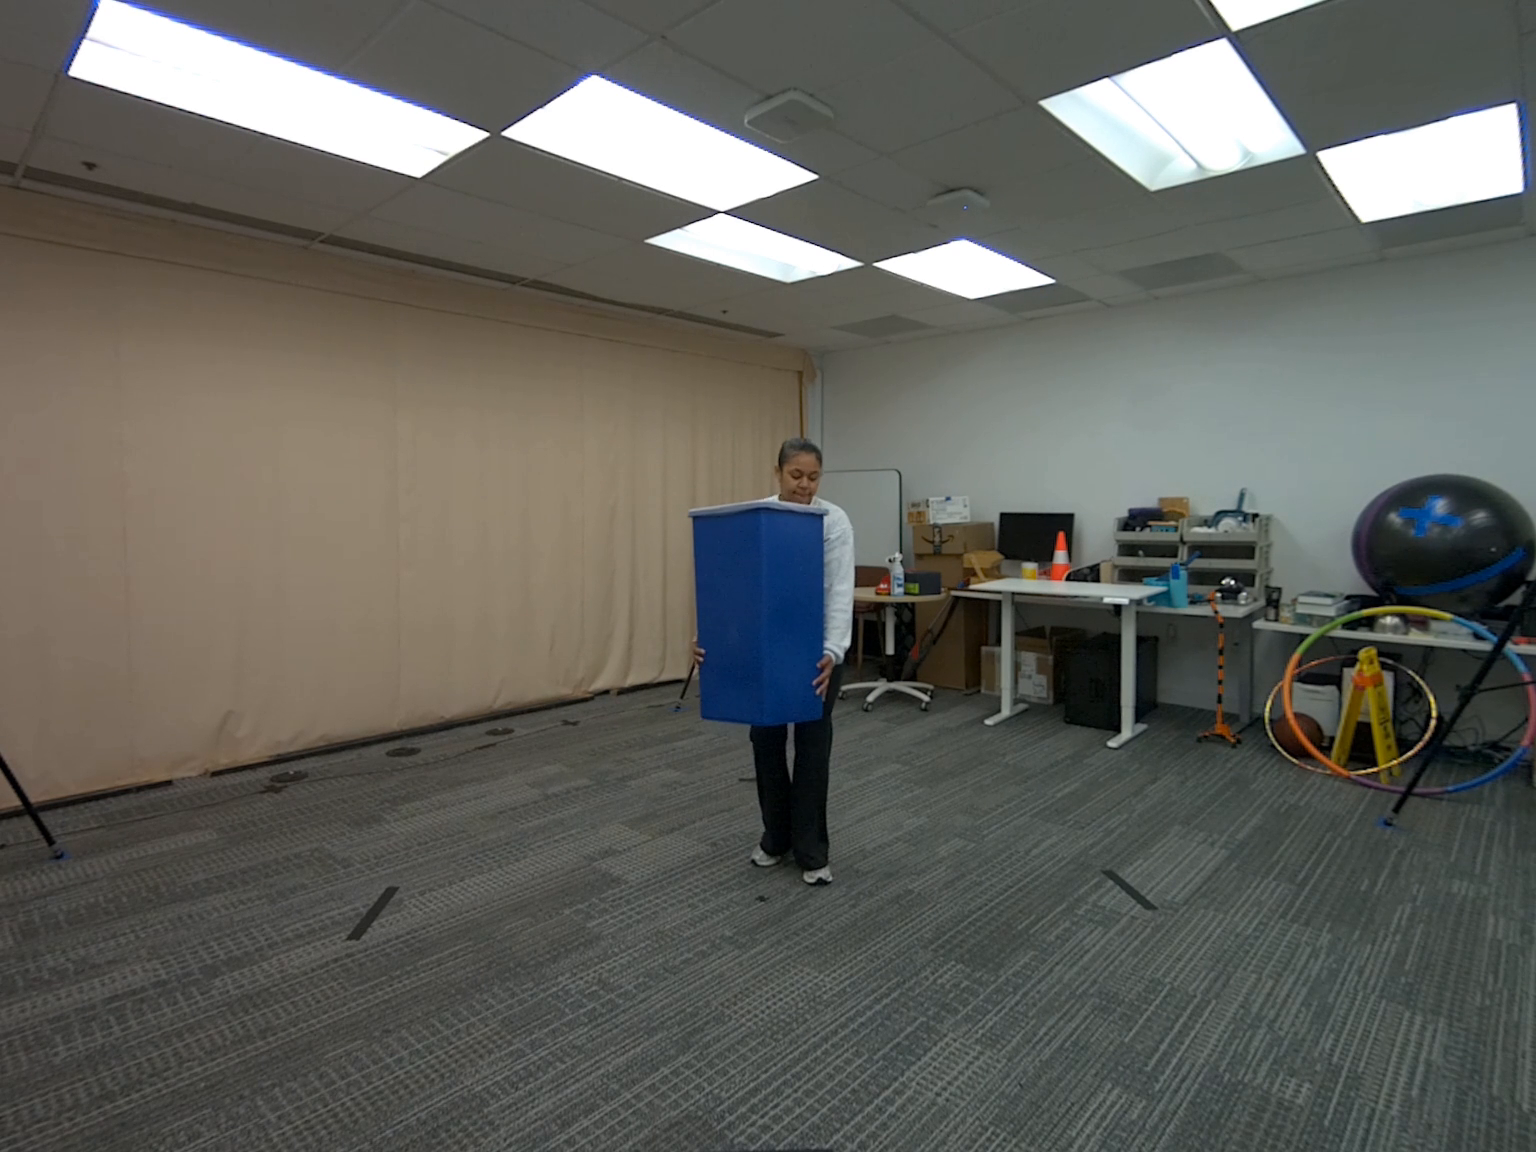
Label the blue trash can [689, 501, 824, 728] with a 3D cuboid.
[{"bbox_3d":[-0.030,0.130,2.883,0.385,0.715,0.365,-4,-5,41],"label":"blue trash can"}]
